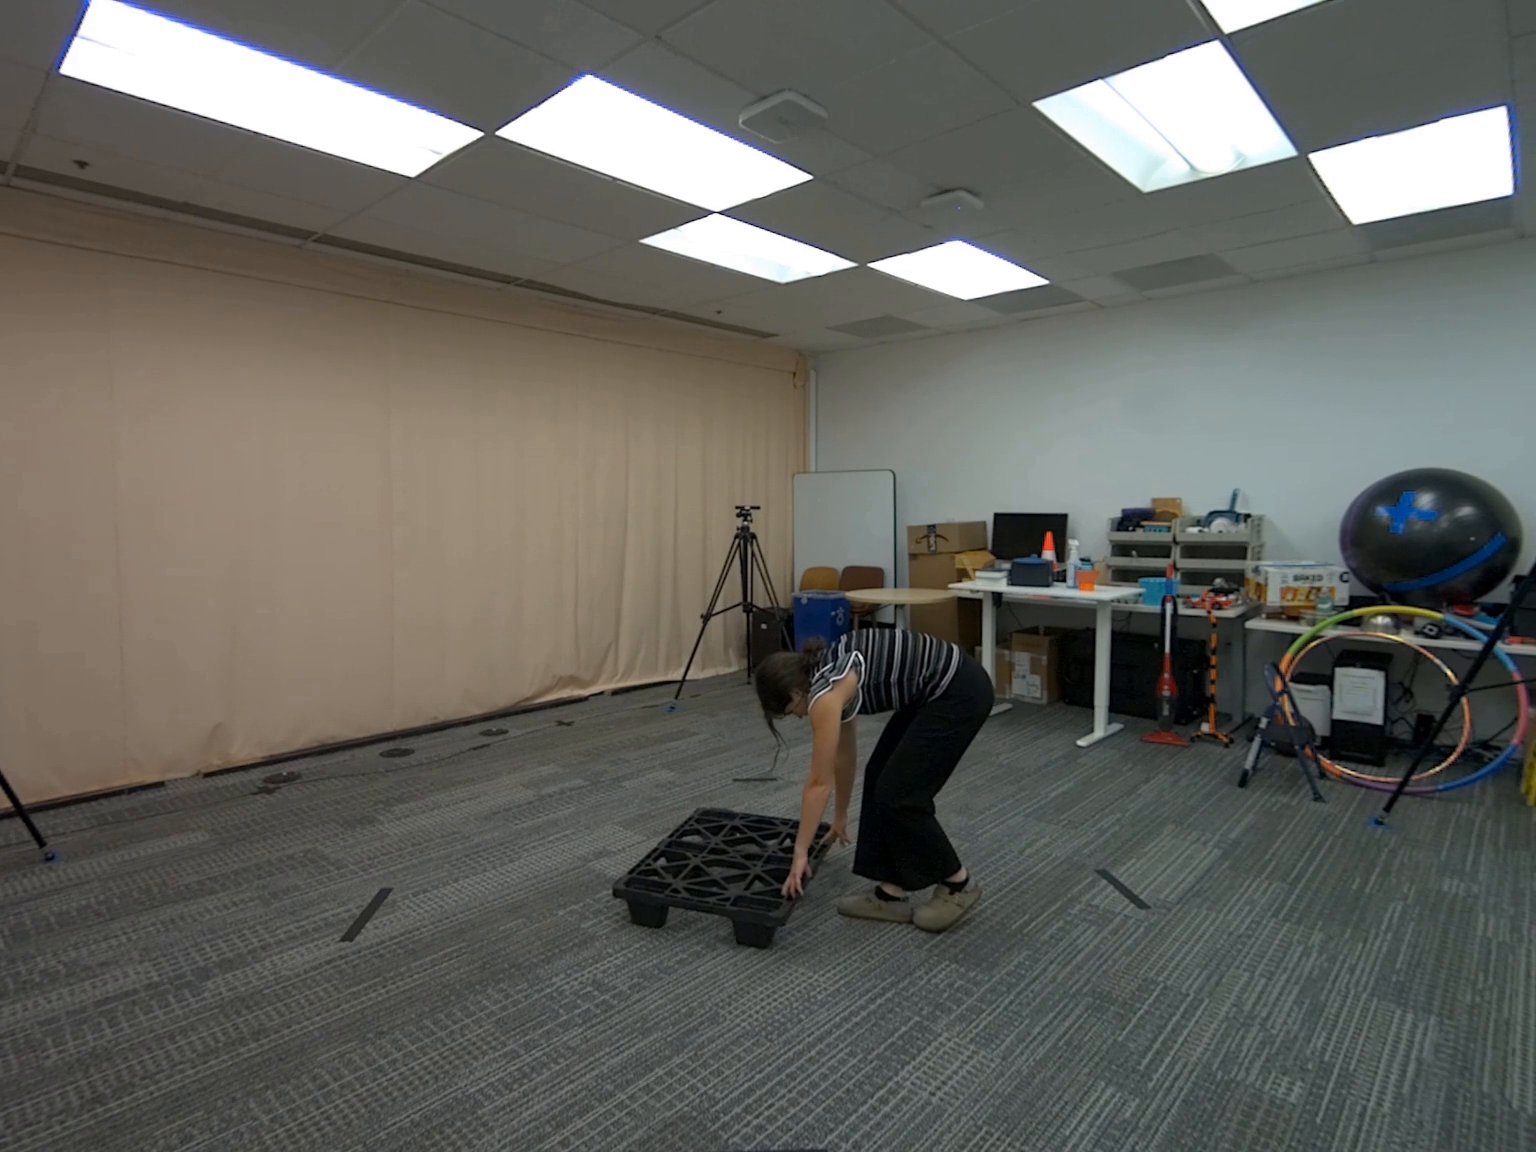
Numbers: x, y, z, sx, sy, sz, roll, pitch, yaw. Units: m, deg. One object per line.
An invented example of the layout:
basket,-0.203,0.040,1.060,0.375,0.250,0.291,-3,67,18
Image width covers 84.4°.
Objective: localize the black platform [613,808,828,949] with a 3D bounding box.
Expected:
black platform,-0.120,1.069,3.057,0.618,0.143,0.791,1,5,19
